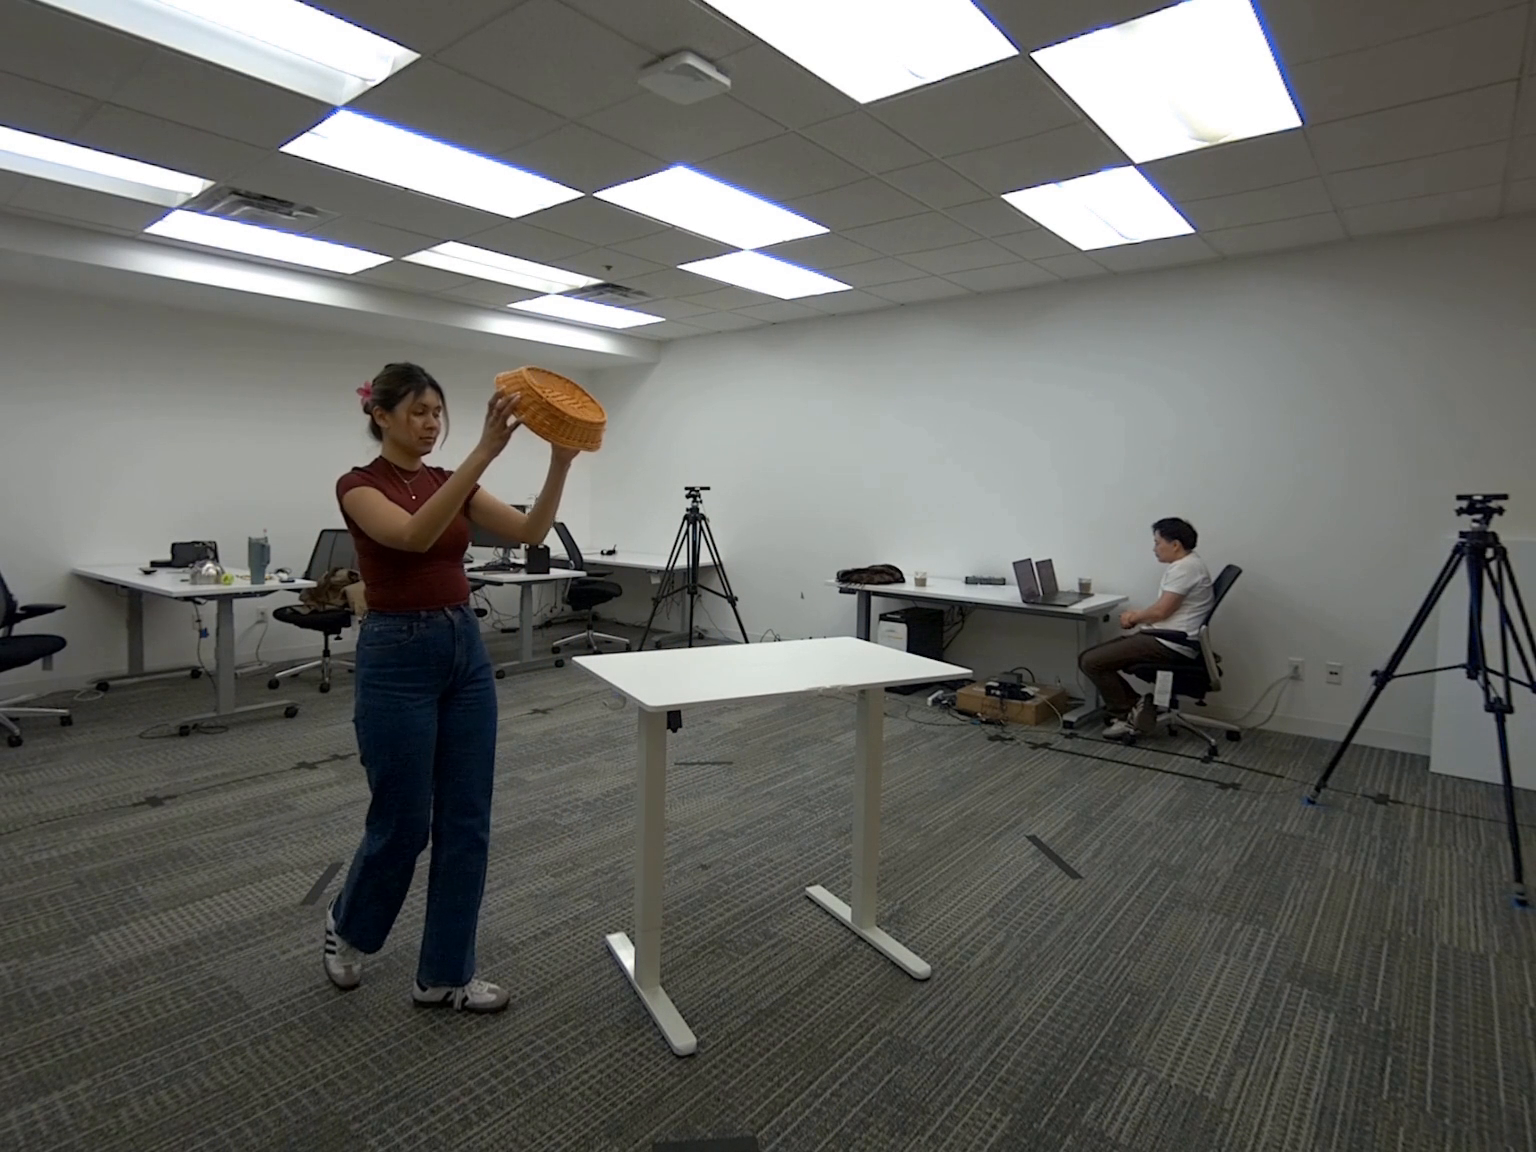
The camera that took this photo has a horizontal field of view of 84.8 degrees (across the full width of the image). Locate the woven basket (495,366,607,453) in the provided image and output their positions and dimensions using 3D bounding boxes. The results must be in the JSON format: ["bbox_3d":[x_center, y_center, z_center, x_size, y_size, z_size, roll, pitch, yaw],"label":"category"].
[{"bbox_3d":[-0.524,-0.414,2.064,0.073,0.257,0.343,-43,-12,17],"label":"woven basket"}]
